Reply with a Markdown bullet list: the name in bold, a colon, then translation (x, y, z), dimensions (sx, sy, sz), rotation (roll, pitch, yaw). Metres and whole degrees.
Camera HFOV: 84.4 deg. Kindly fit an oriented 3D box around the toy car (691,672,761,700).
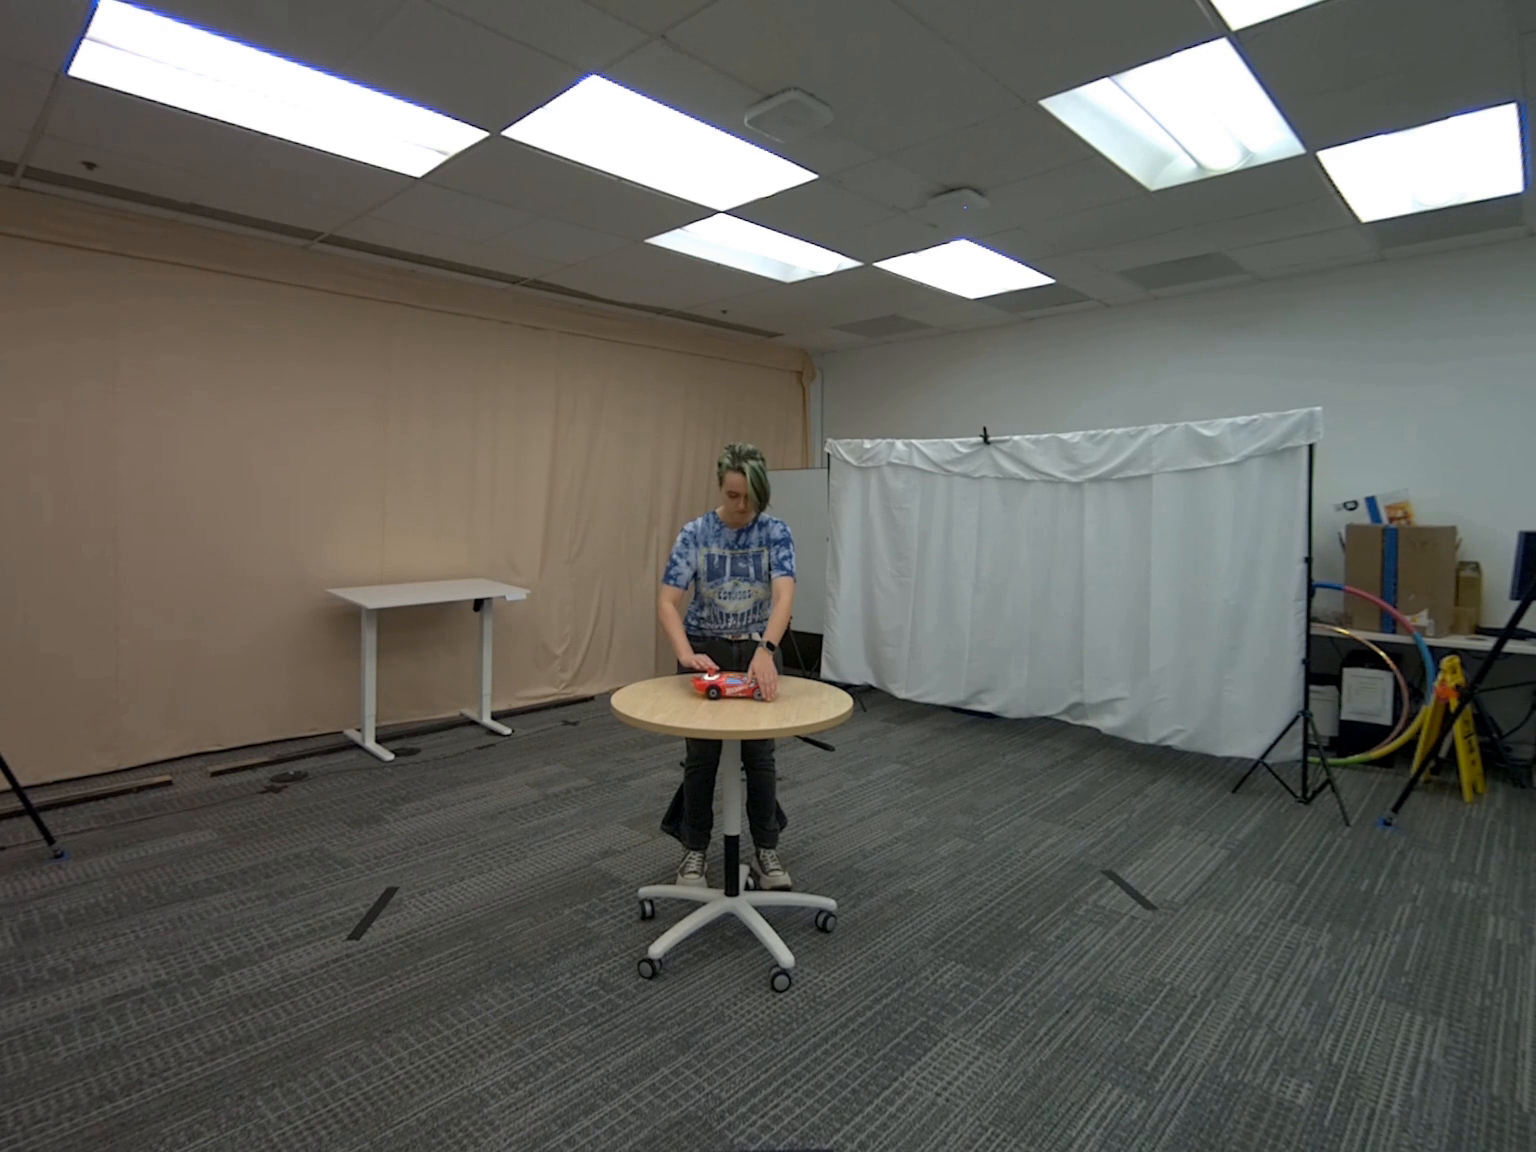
- **toy car**: translation (-0.123, 0.352, 2.689), dimensions (0.255, 0.083, 0.130), rotation (11, 5, 1)
